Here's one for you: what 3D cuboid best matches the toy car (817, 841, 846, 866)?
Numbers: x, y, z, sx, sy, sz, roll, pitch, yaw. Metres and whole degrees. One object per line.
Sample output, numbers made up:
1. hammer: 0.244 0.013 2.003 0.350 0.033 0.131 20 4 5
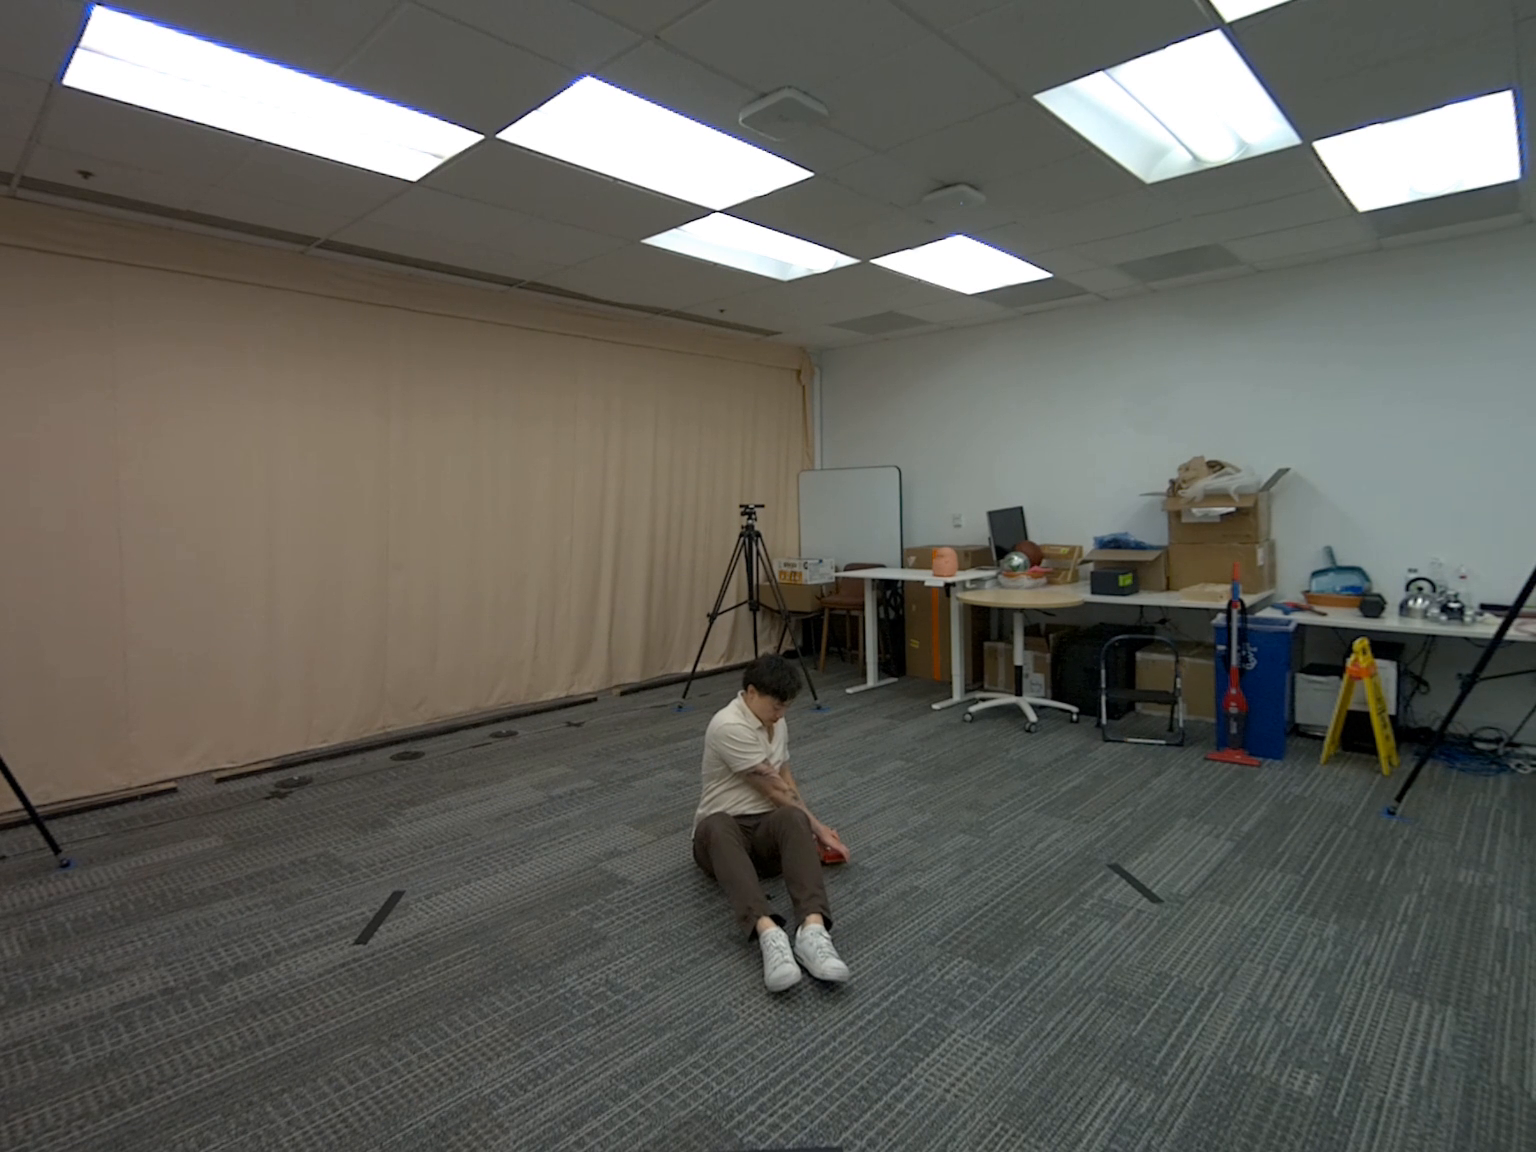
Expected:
1. toy car: 0.234 1.070 3.305 0.128 0.083 0.257 -2 -6 -16
